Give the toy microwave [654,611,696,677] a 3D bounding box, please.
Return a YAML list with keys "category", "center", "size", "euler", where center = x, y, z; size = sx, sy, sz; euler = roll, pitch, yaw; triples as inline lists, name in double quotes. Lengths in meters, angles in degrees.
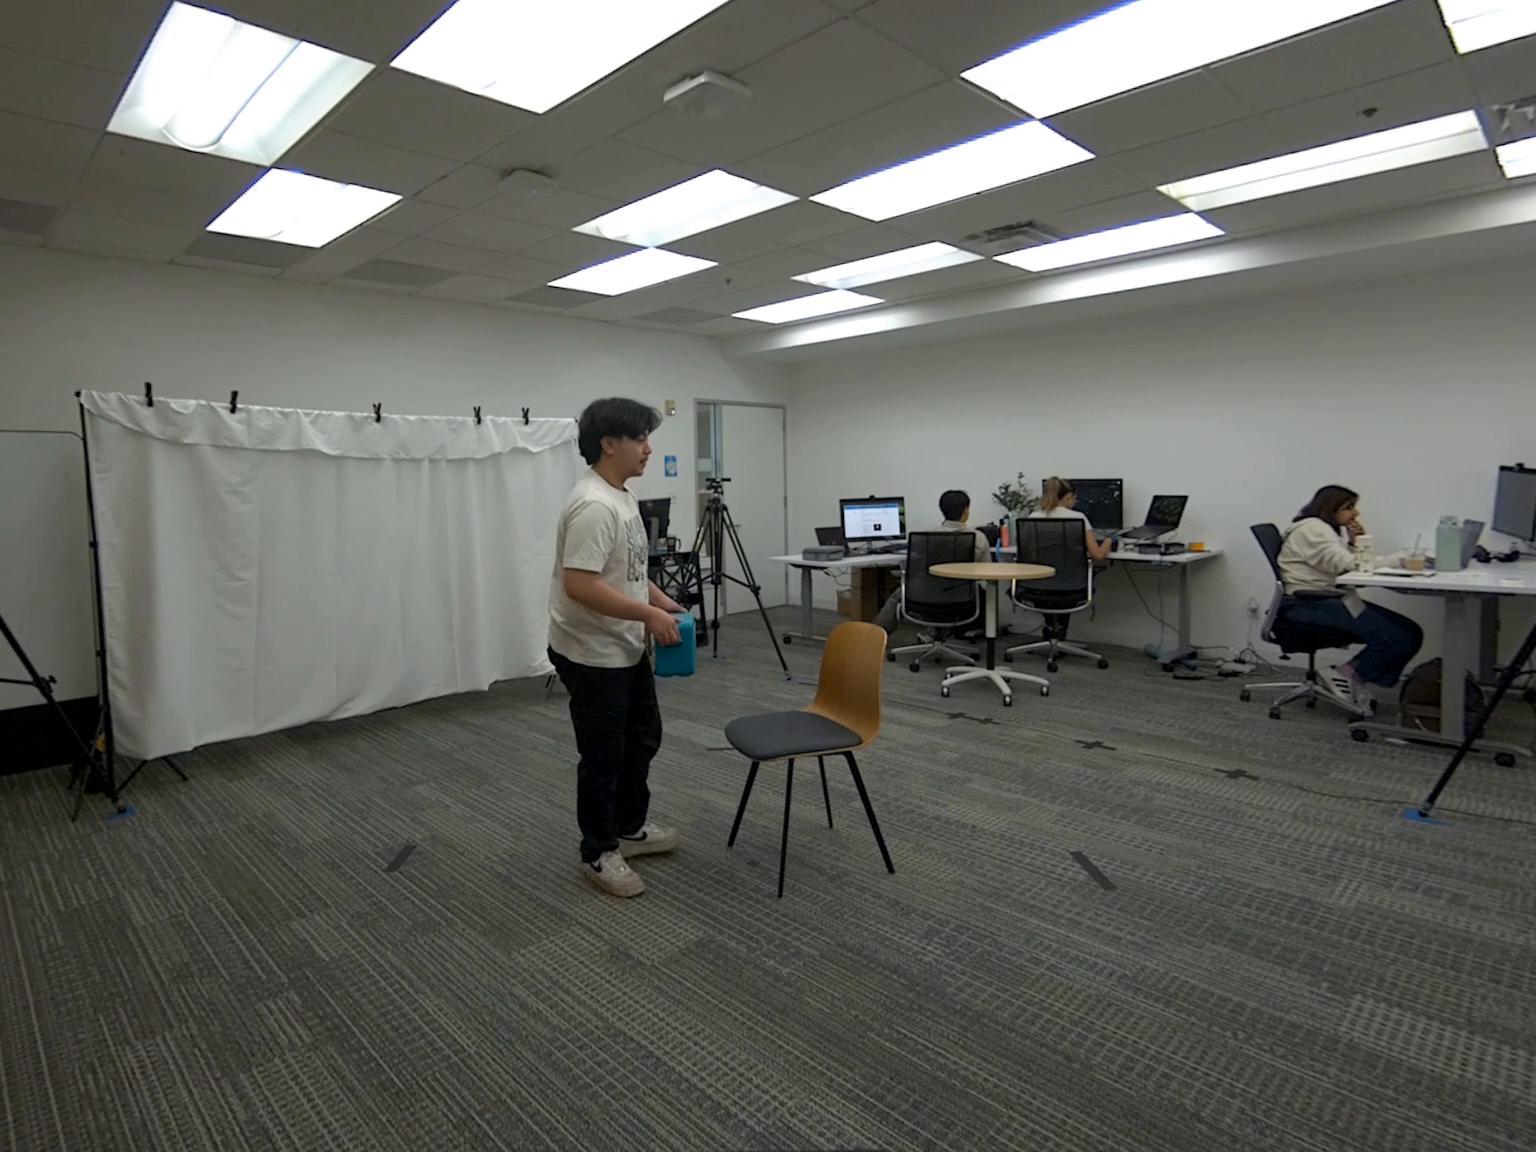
- category: "toy microwave"
  center: [-0.339, 0.244, 2.958]
  size: [0.153, 0.183, 0.286]
  euler: [0, 4, 3]
